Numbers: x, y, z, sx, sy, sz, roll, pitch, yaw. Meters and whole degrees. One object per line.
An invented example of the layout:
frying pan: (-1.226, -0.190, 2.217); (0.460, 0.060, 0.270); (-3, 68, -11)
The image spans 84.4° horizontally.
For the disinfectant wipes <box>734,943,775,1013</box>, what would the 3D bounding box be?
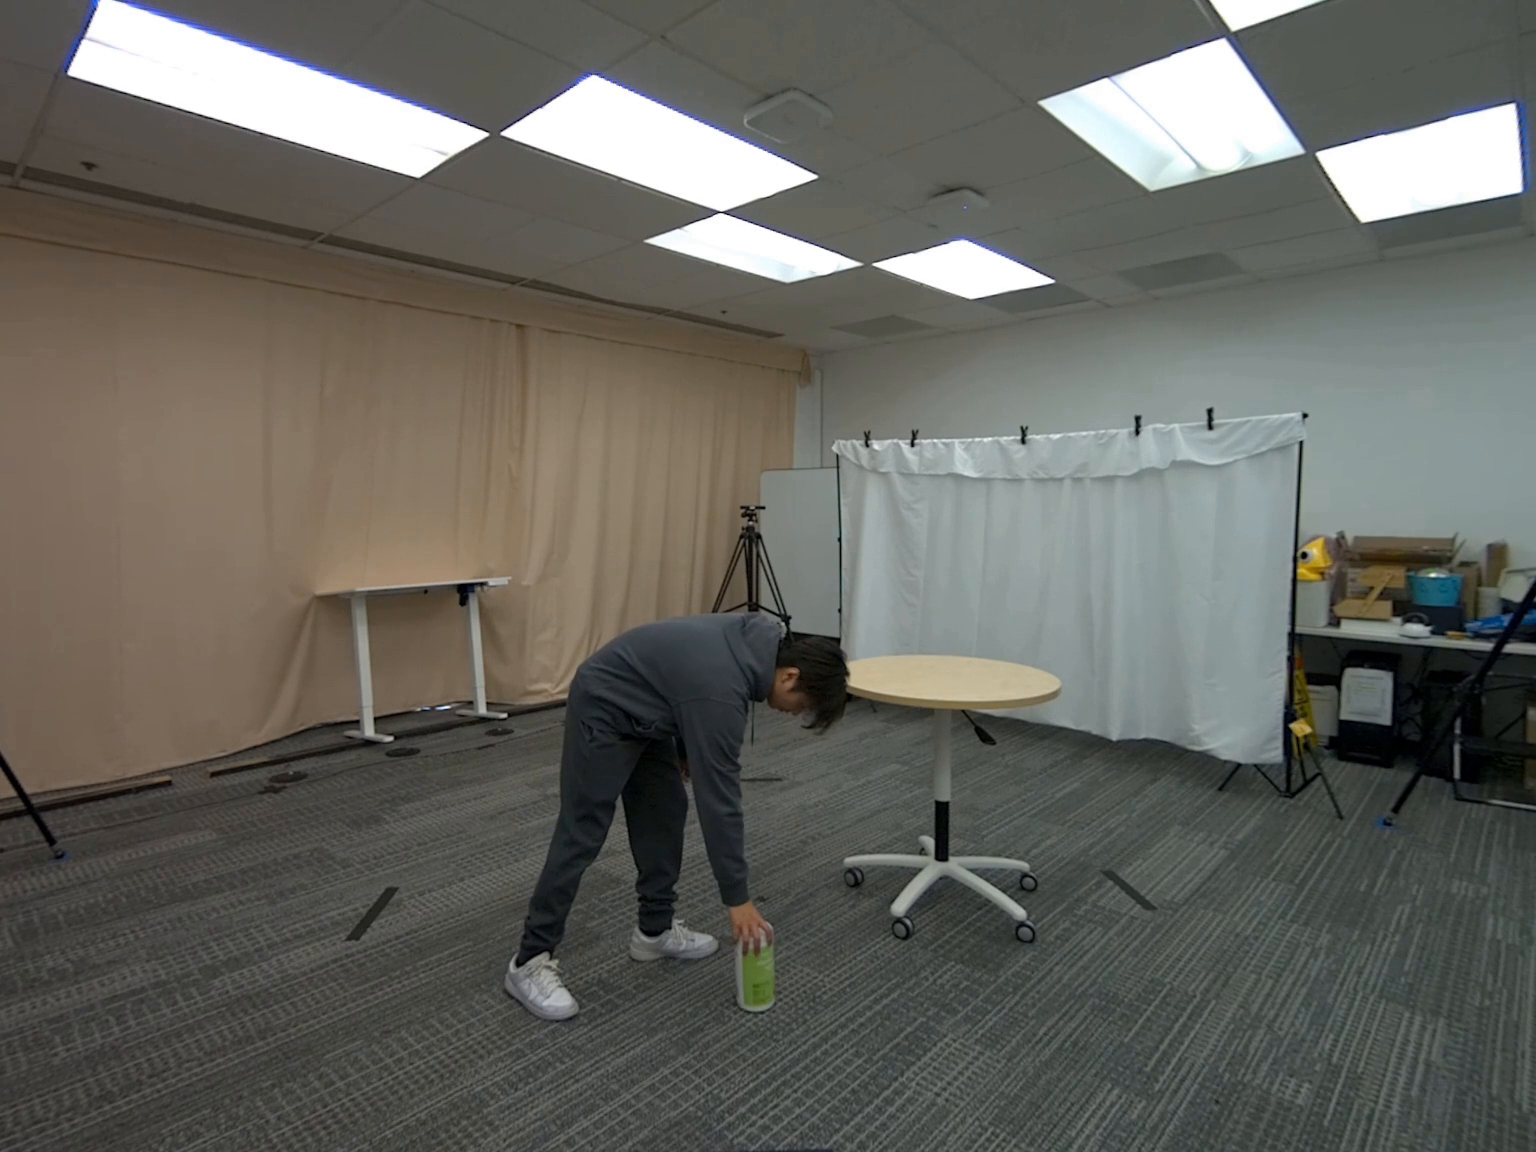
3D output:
disinfectant wipes: (-0.036, 1.091, 2.332); (0.118, 0.216, 0.118); (0, 6, -2)
